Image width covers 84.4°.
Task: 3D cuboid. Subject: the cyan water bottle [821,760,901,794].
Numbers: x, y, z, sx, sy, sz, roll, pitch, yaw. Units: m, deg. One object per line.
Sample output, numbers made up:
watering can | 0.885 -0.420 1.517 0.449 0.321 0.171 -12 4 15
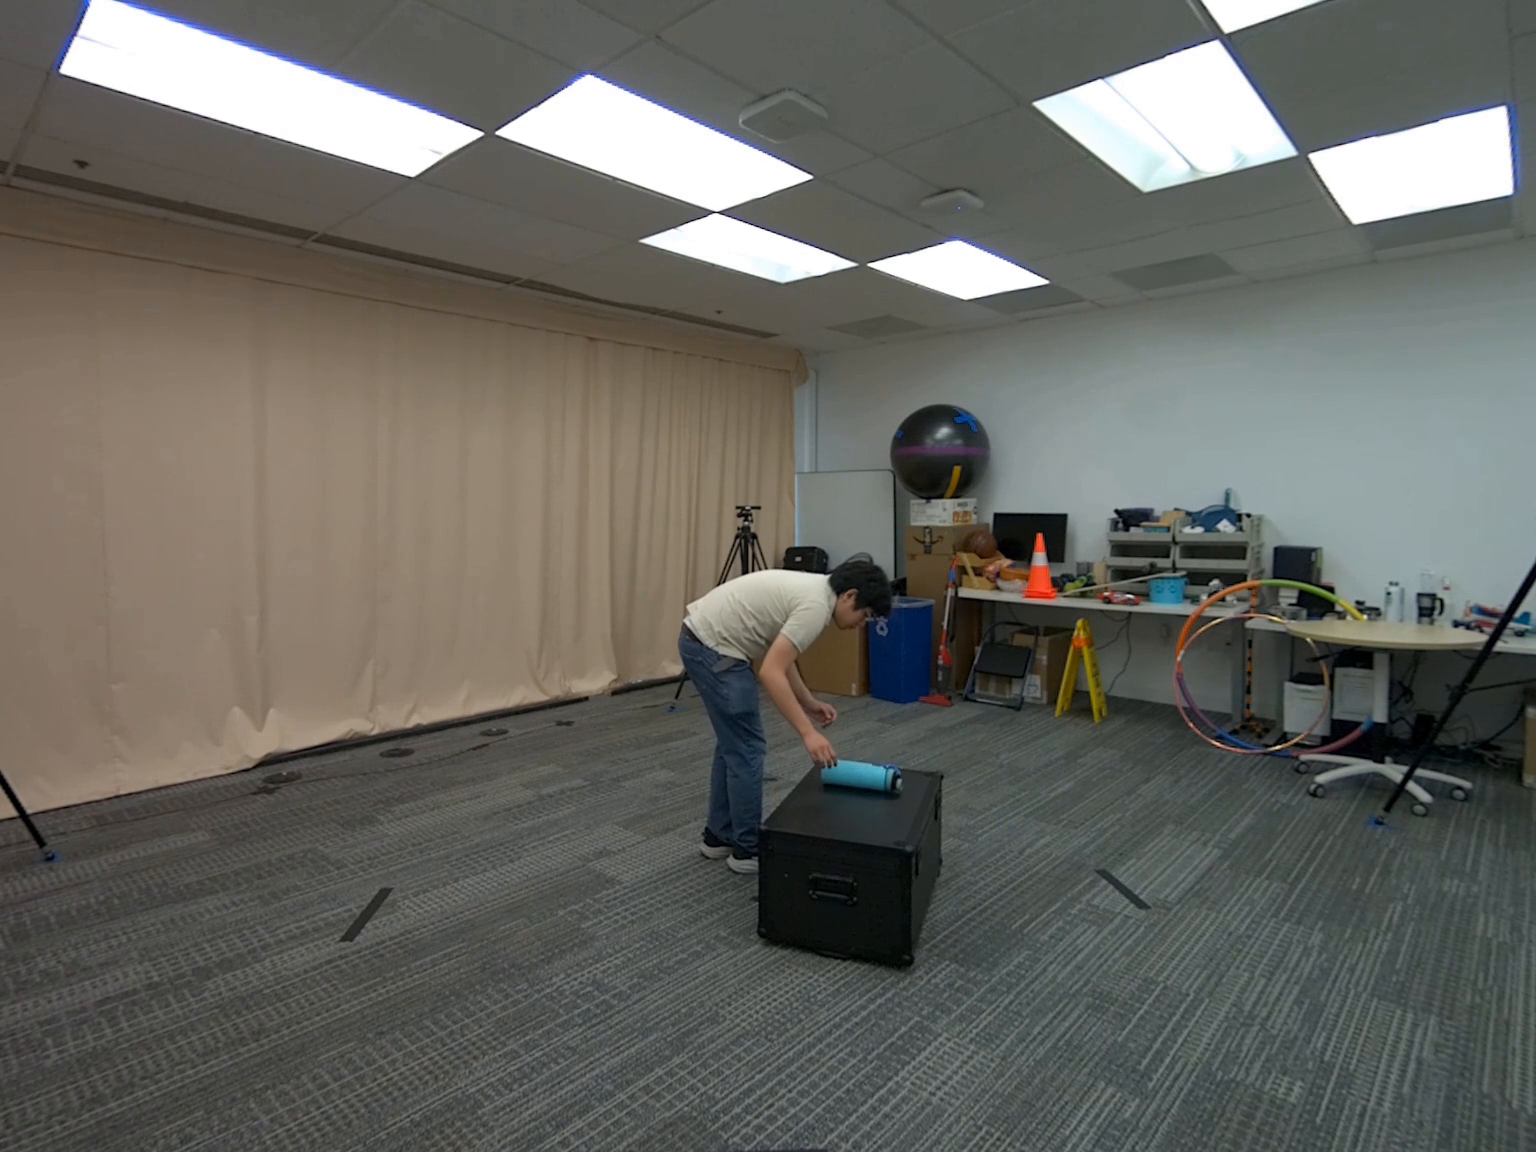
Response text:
cyan water bottle | 0.342 0.714 3.028 0.290 0.092 0.090 4 5 21
